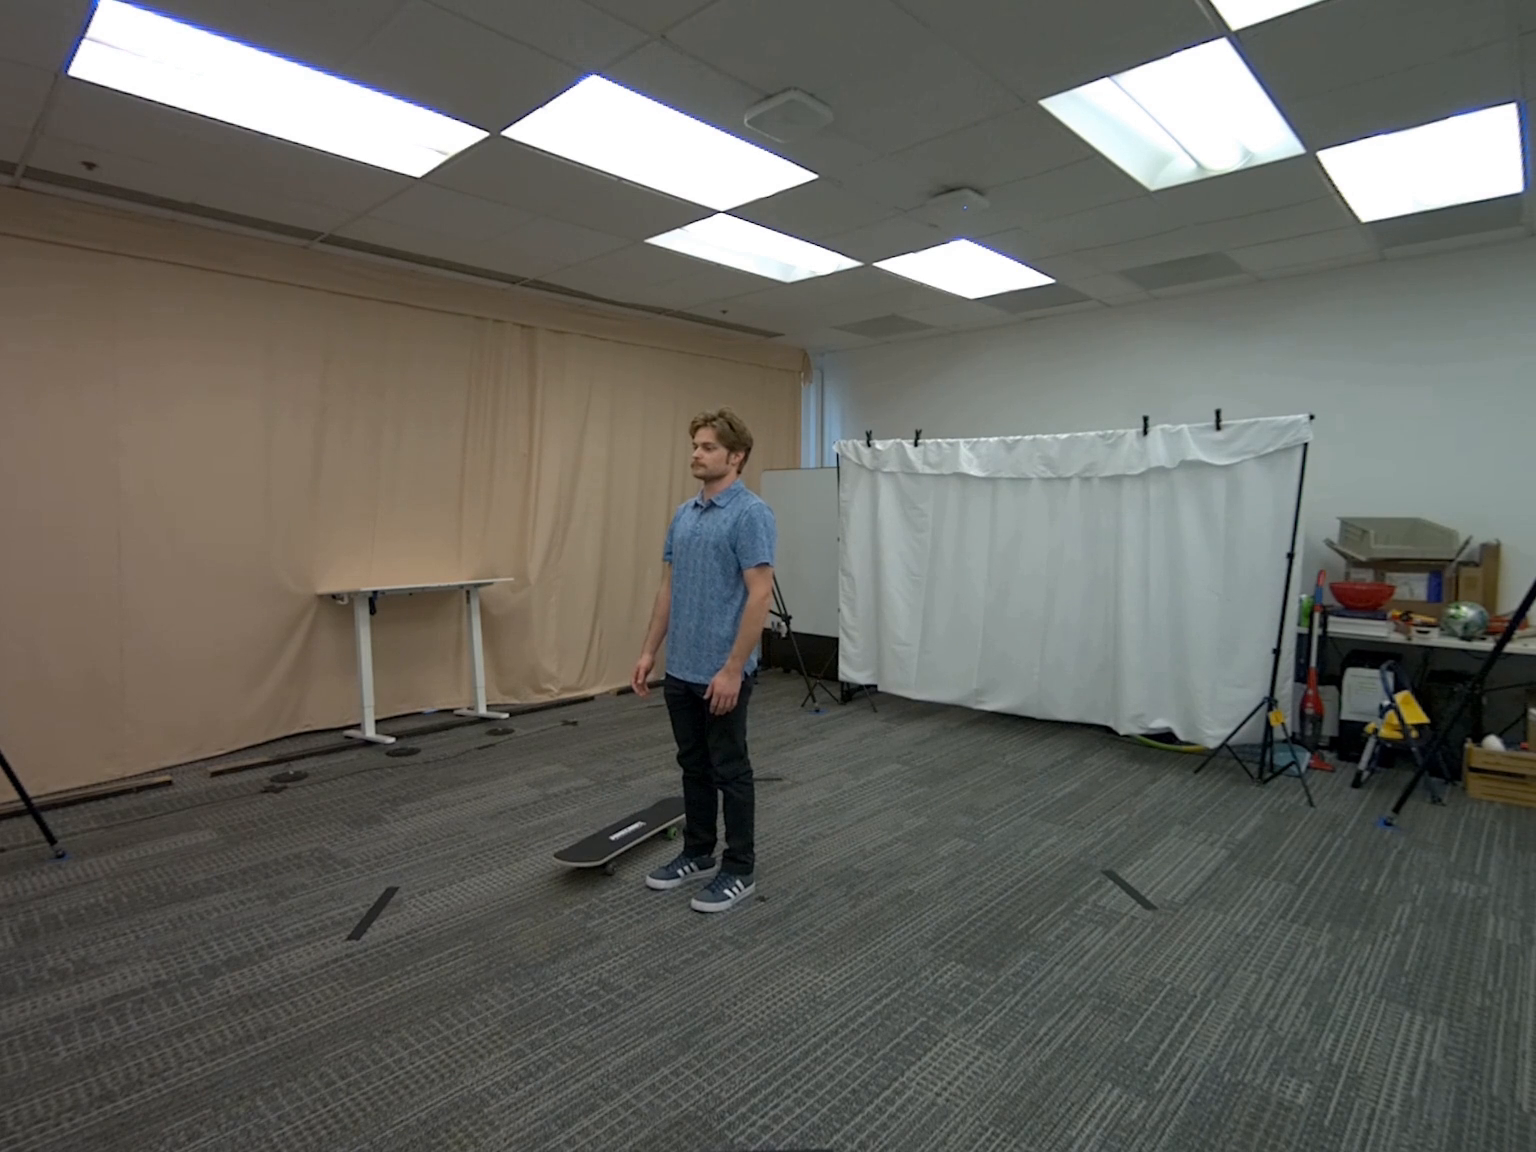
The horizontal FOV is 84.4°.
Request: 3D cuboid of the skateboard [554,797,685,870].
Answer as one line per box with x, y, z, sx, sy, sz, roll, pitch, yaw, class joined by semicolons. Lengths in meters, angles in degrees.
-0.567;1.059;3.393;0.199;0.110;0.765;2;5;29;skateboard
